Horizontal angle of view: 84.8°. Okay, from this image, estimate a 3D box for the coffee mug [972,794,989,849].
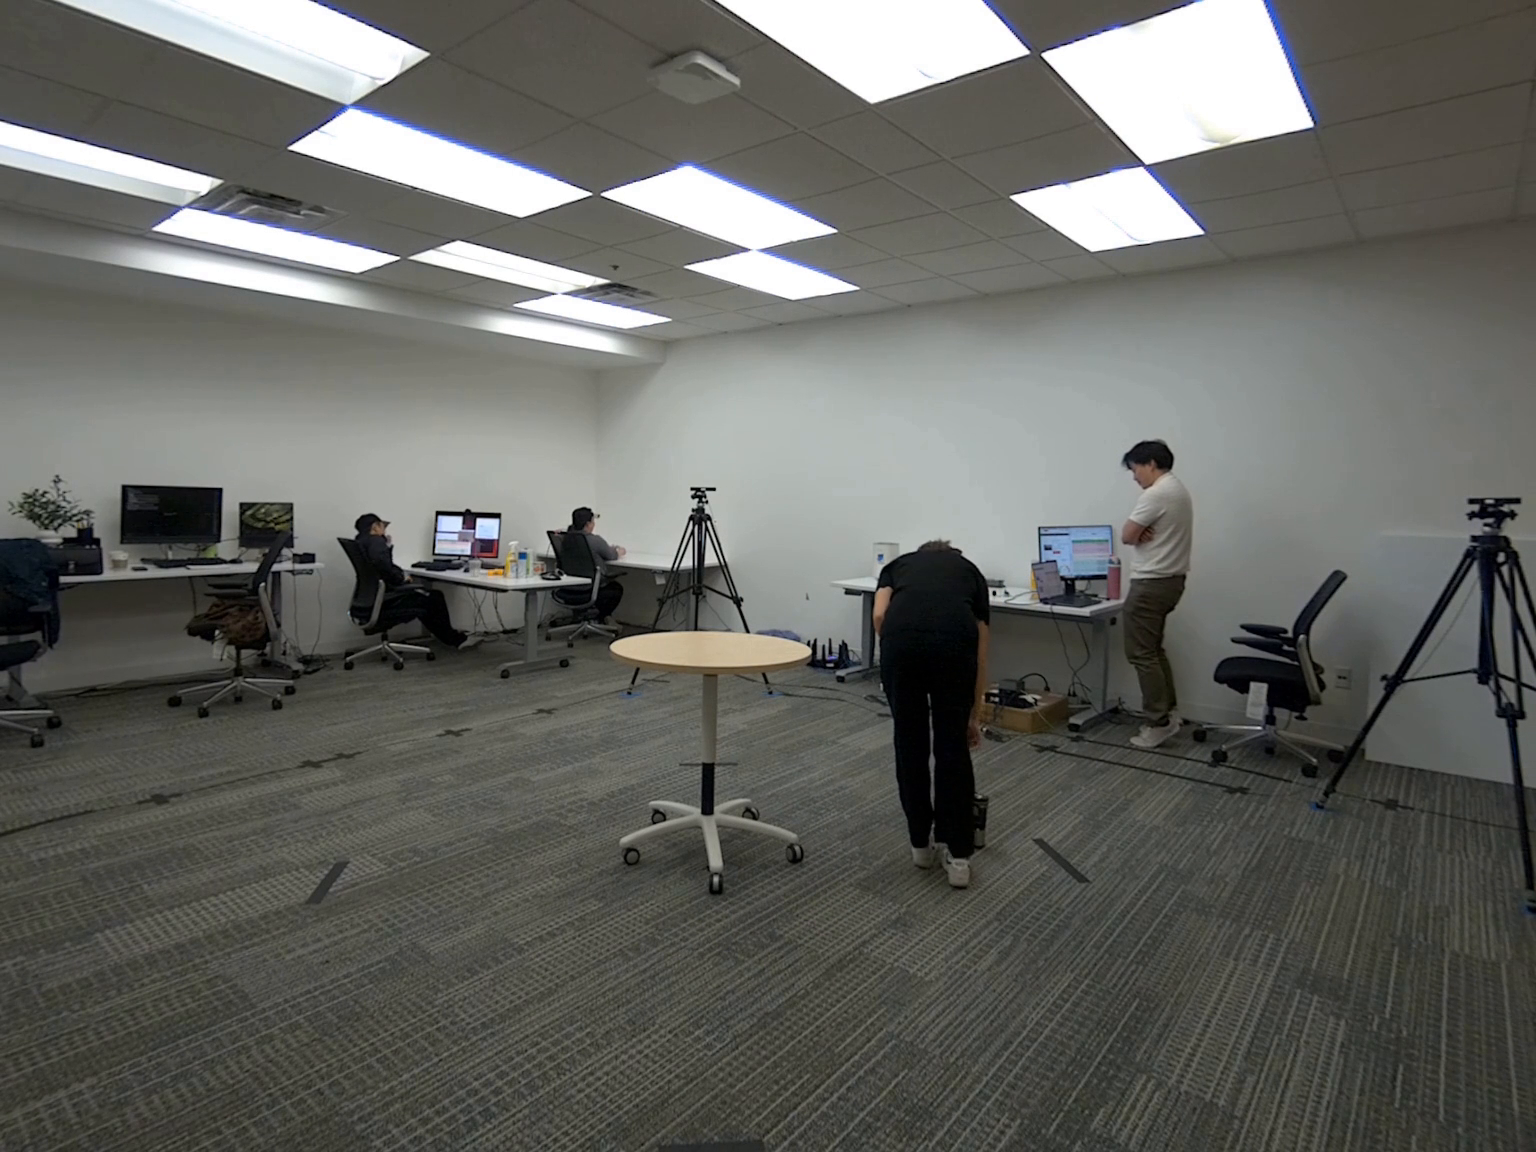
[{"bbox_3d":[0.815,0.972,3.356,0.091,0.202,0.118,7,3,32],"label":"coffee mug"}]
